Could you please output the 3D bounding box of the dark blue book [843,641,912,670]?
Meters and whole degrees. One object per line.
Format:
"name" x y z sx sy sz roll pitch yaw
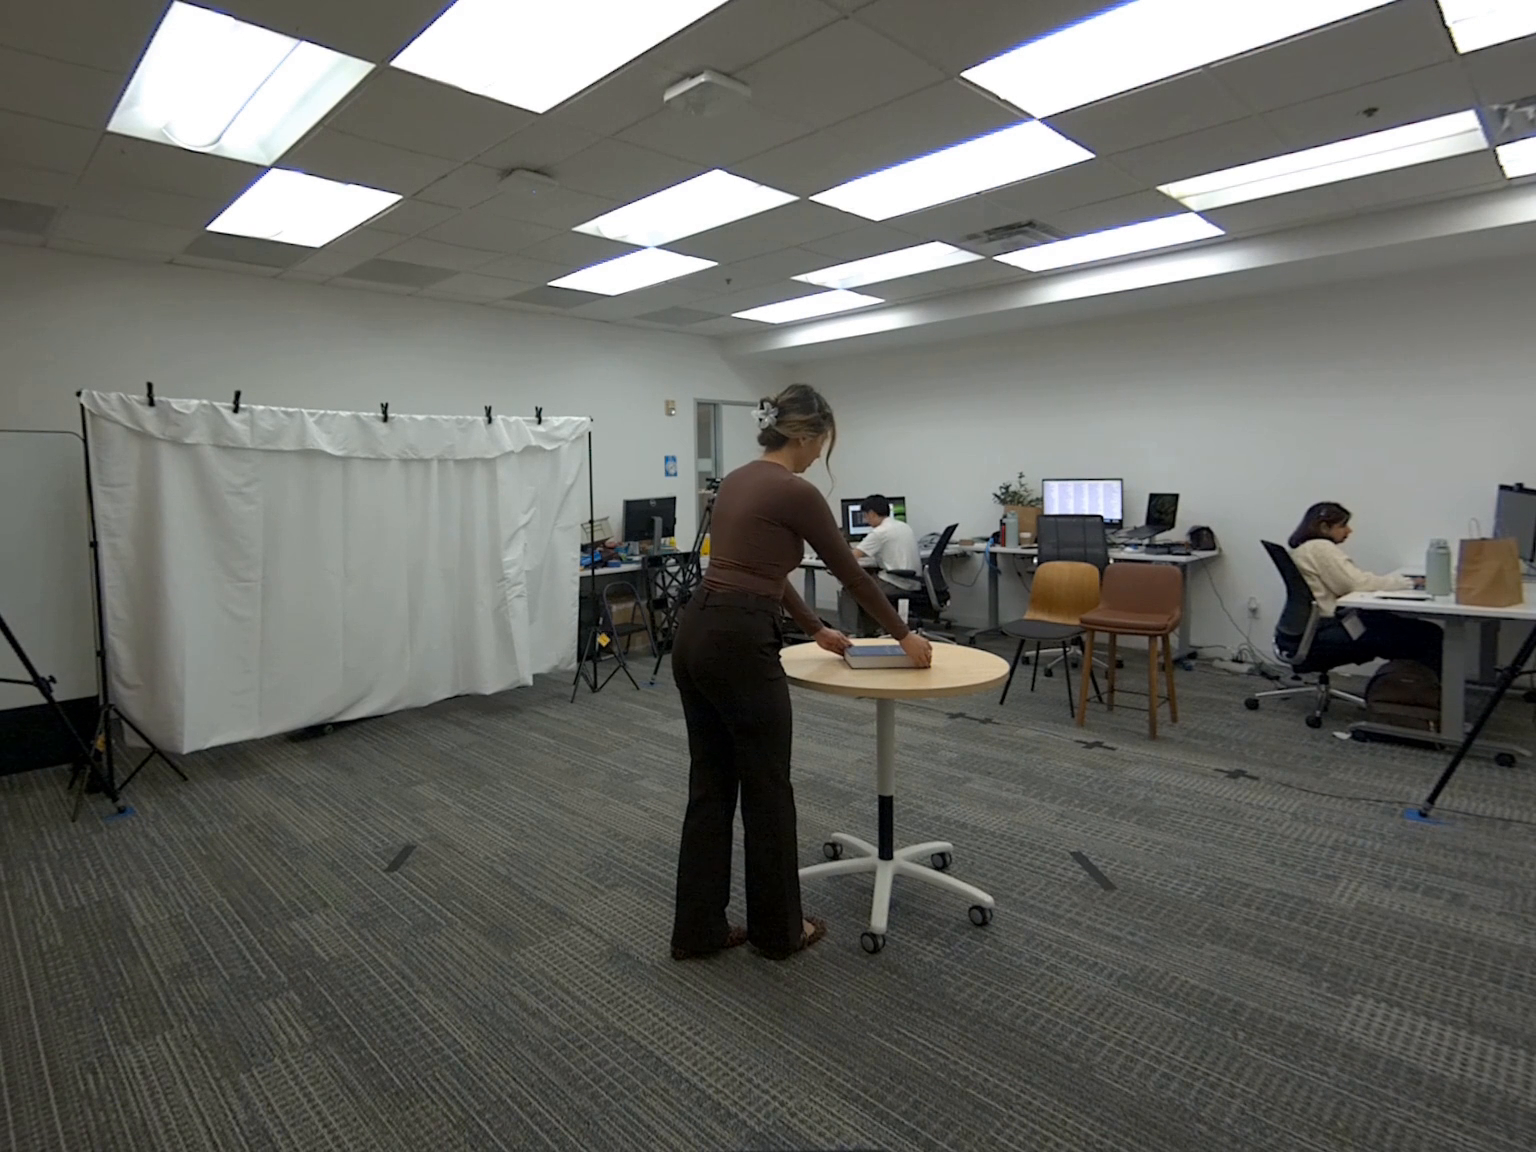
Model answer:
"dark blue book" 0.380 0.264 2.727 0.245 0.045 0.164 -2 6 1
